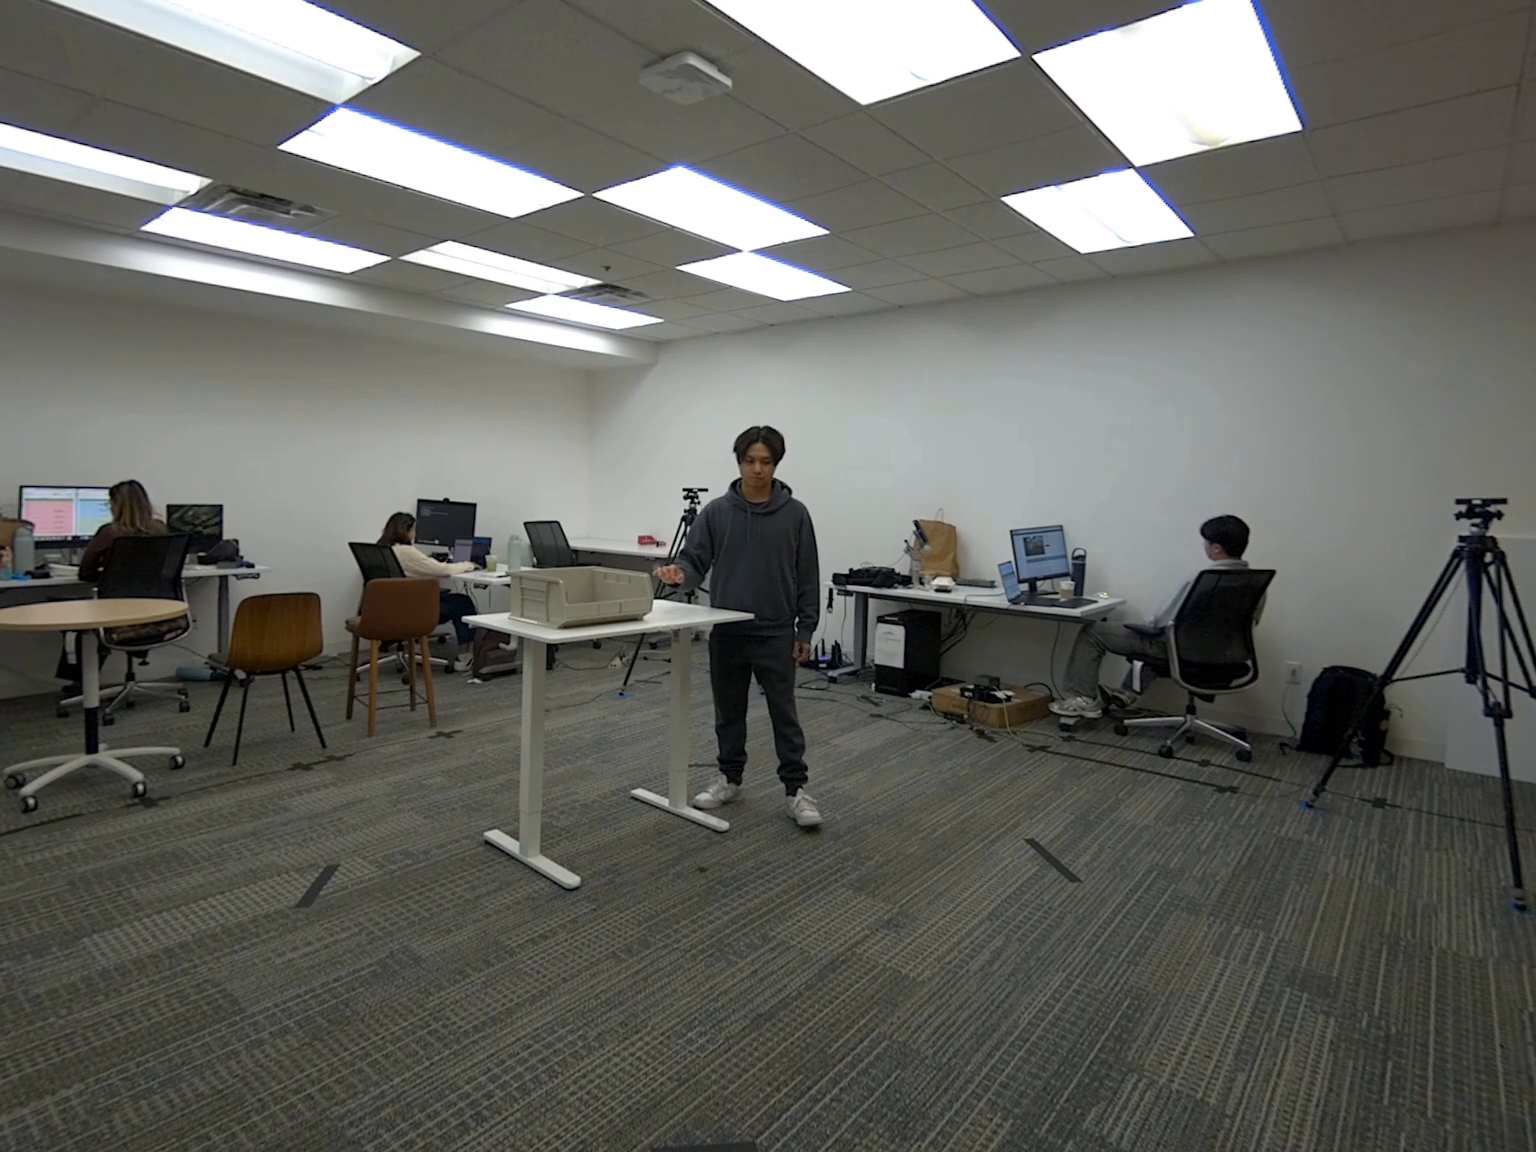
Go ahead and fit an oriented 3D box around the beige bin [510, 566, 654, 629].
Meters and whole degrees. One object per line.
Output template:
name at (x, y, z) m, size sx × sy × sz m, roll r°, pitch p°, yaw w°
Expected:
beige bin at (-0.724, 0.077, 3.229) m, size 0.390 × 0.188 × 0.409 m, roll 5°, pitch 6°, yaw 42°
